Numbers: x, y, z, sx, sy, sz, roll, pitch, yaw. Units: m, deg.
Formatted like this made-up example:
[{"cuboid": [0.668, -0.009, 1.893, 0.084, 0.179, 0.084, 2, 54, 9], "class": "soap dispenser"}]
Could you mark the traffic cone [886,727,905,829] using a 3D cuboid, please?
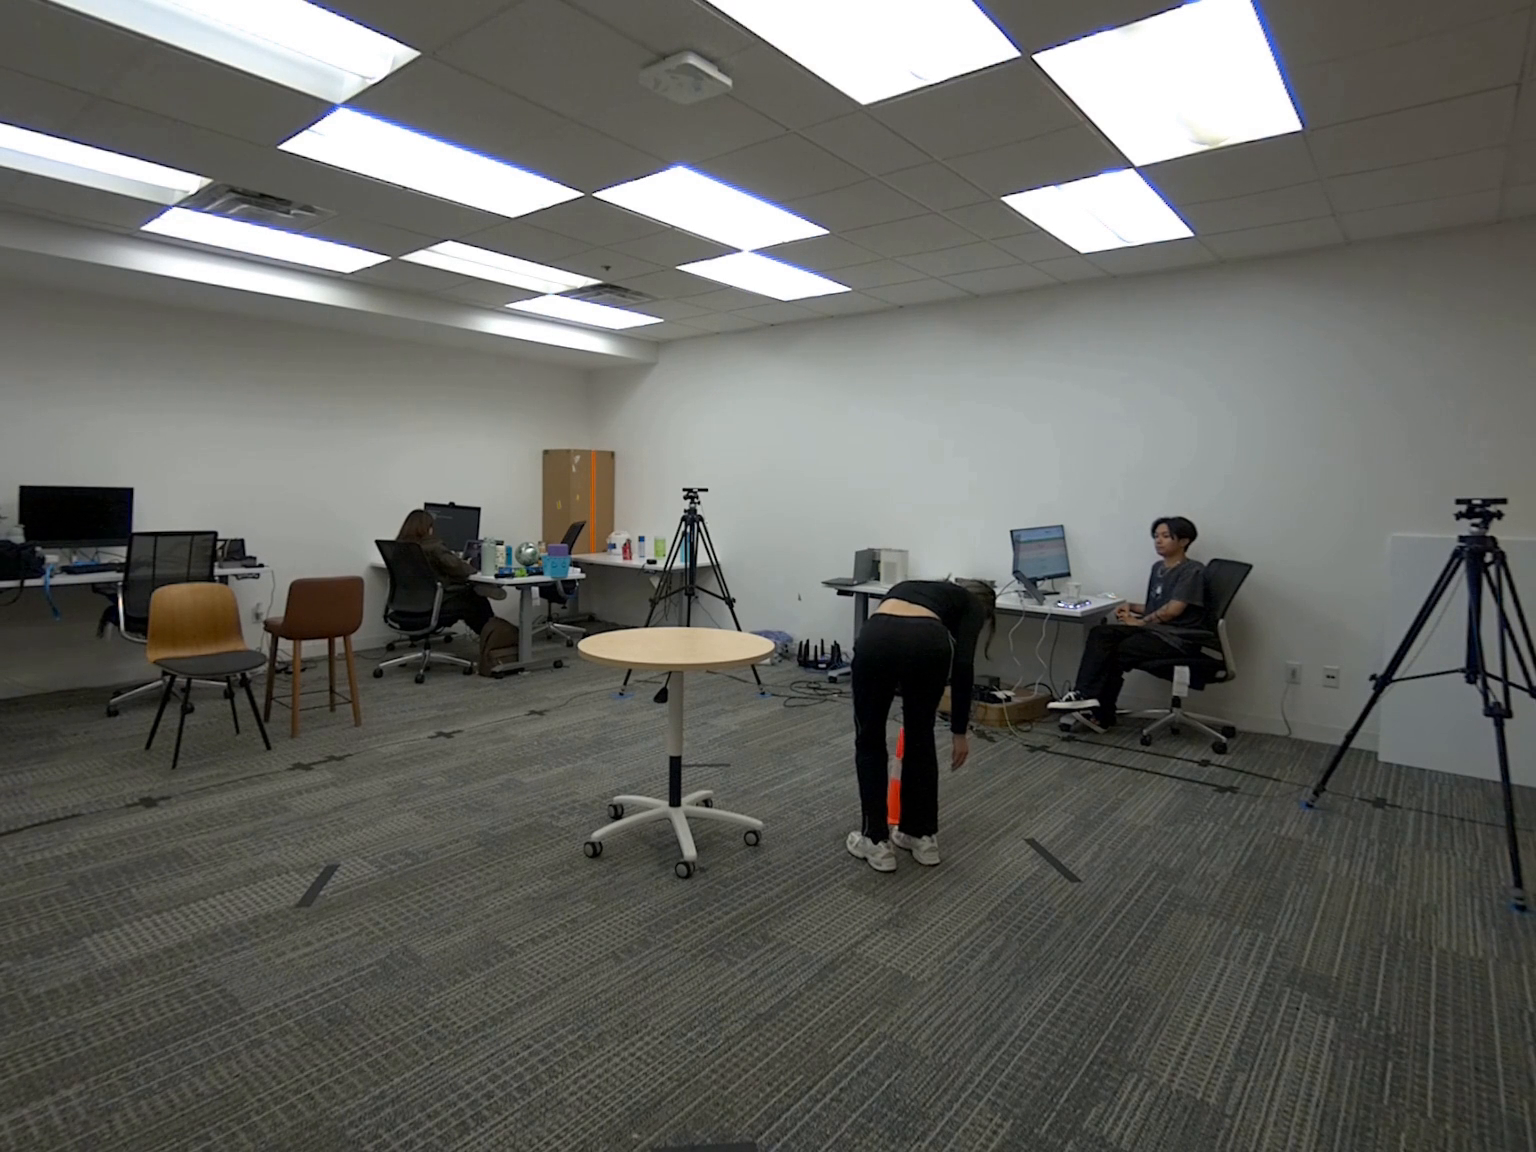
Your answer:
[{"cuboid": [0.566, 0.831, 3.653, 0.206, 0.382, 0.203, -1, 4, 6], "class": "traffic cone"}]
